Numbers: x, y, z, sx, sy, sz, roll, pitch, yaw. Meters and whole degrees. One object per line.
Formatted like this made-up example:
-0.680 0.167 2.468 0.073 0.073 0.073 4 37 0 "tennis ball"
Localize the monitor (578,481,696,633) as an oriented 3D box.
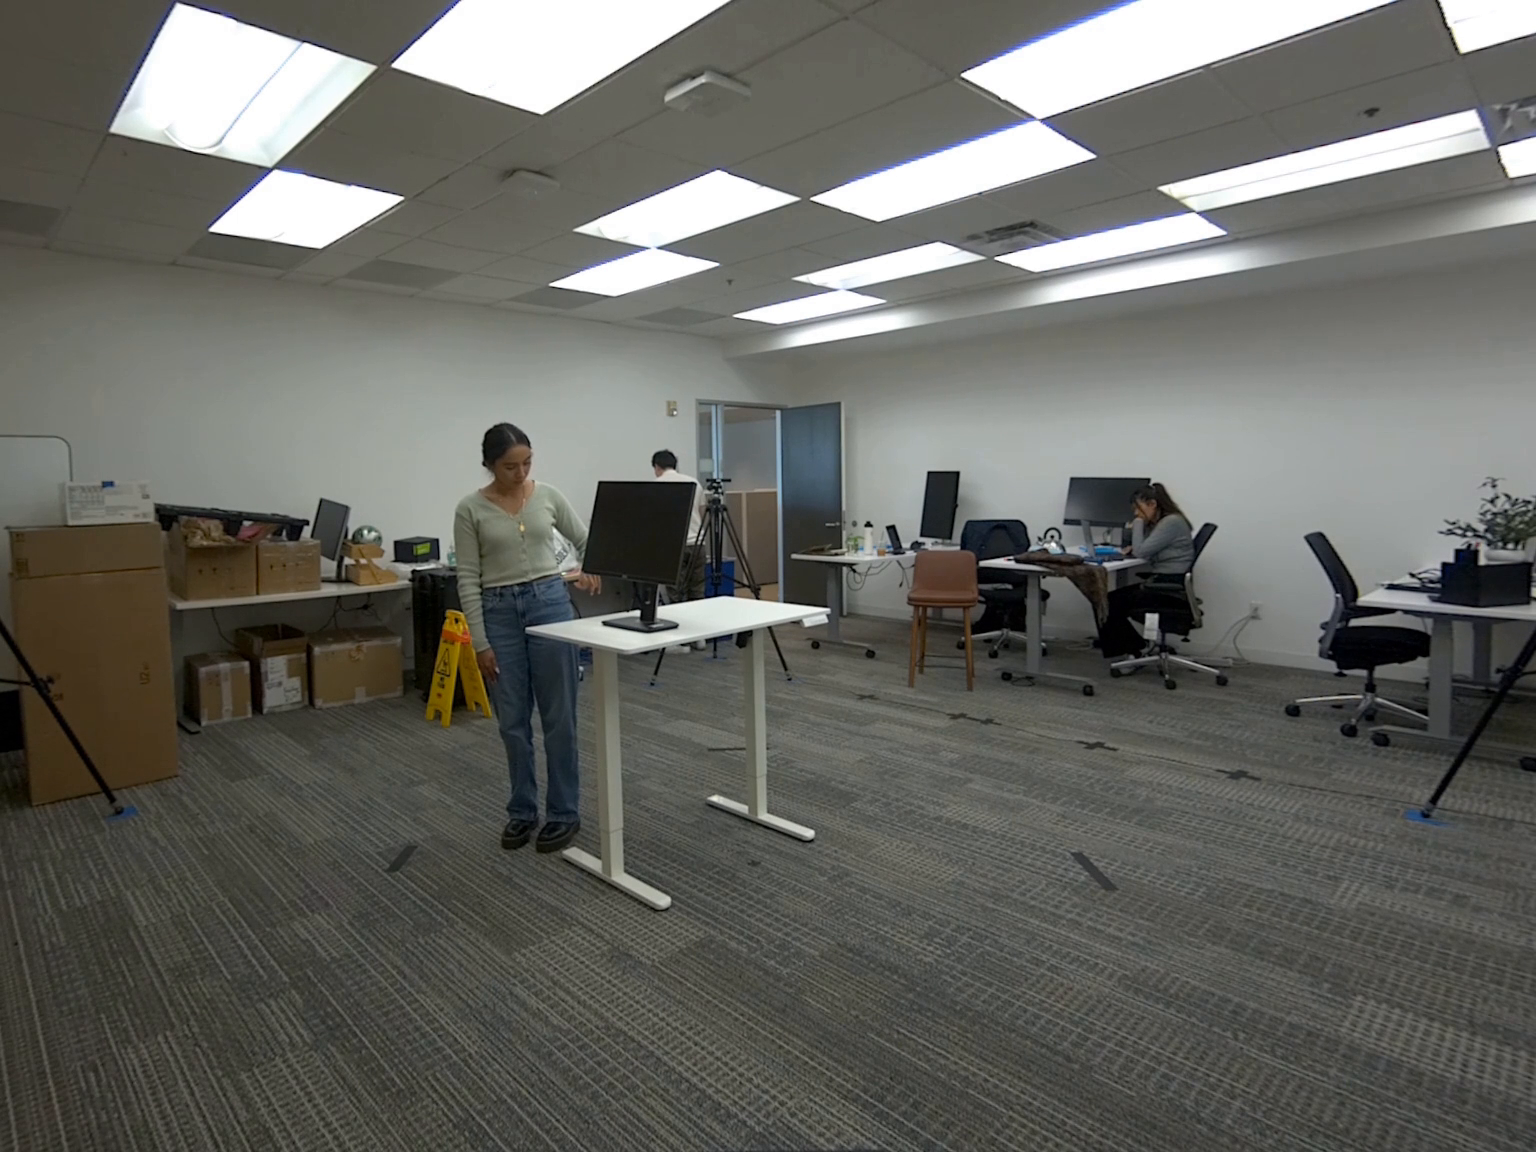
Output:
-0.447 -0.072 3.030 0.556 0.521 0.182 5 4 42 "monitor"
